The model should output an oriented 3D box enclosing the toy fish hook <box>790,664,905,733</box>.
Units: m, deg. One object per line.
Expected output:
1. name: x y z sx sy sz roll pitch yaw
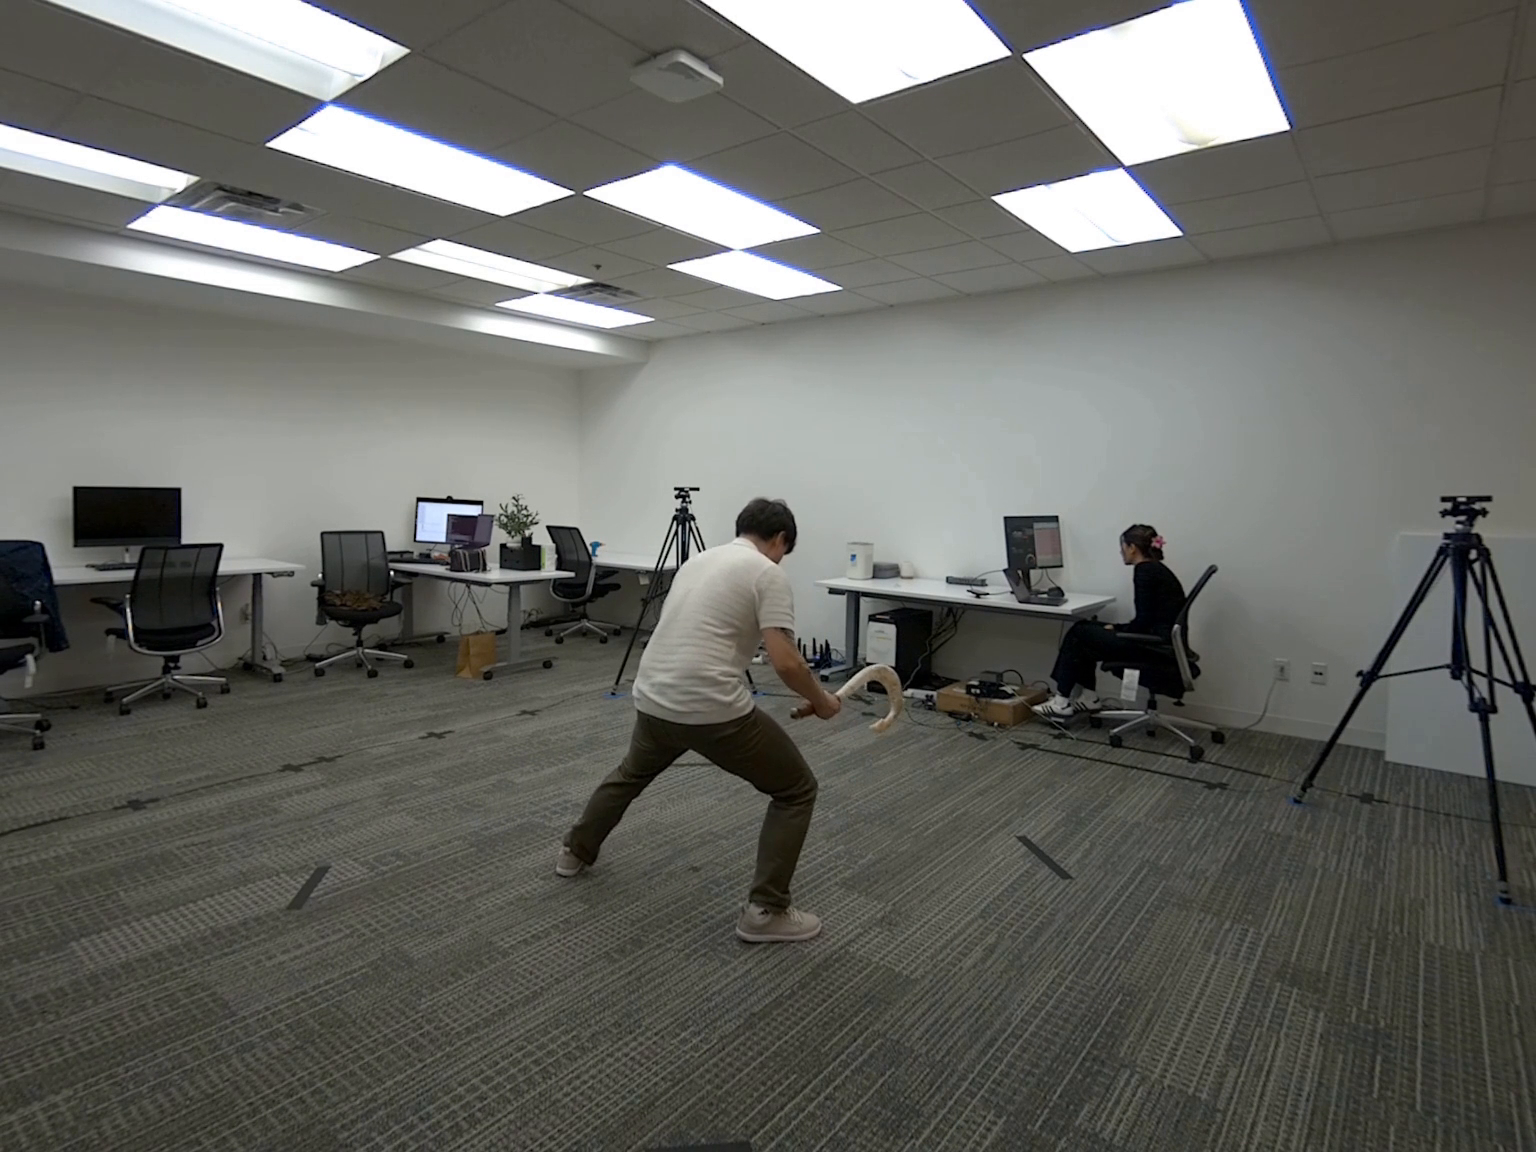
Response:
1. toy fish hook: 0.273 0.456 2.885 0.495 0.226 0.049 -14 -7 -35
